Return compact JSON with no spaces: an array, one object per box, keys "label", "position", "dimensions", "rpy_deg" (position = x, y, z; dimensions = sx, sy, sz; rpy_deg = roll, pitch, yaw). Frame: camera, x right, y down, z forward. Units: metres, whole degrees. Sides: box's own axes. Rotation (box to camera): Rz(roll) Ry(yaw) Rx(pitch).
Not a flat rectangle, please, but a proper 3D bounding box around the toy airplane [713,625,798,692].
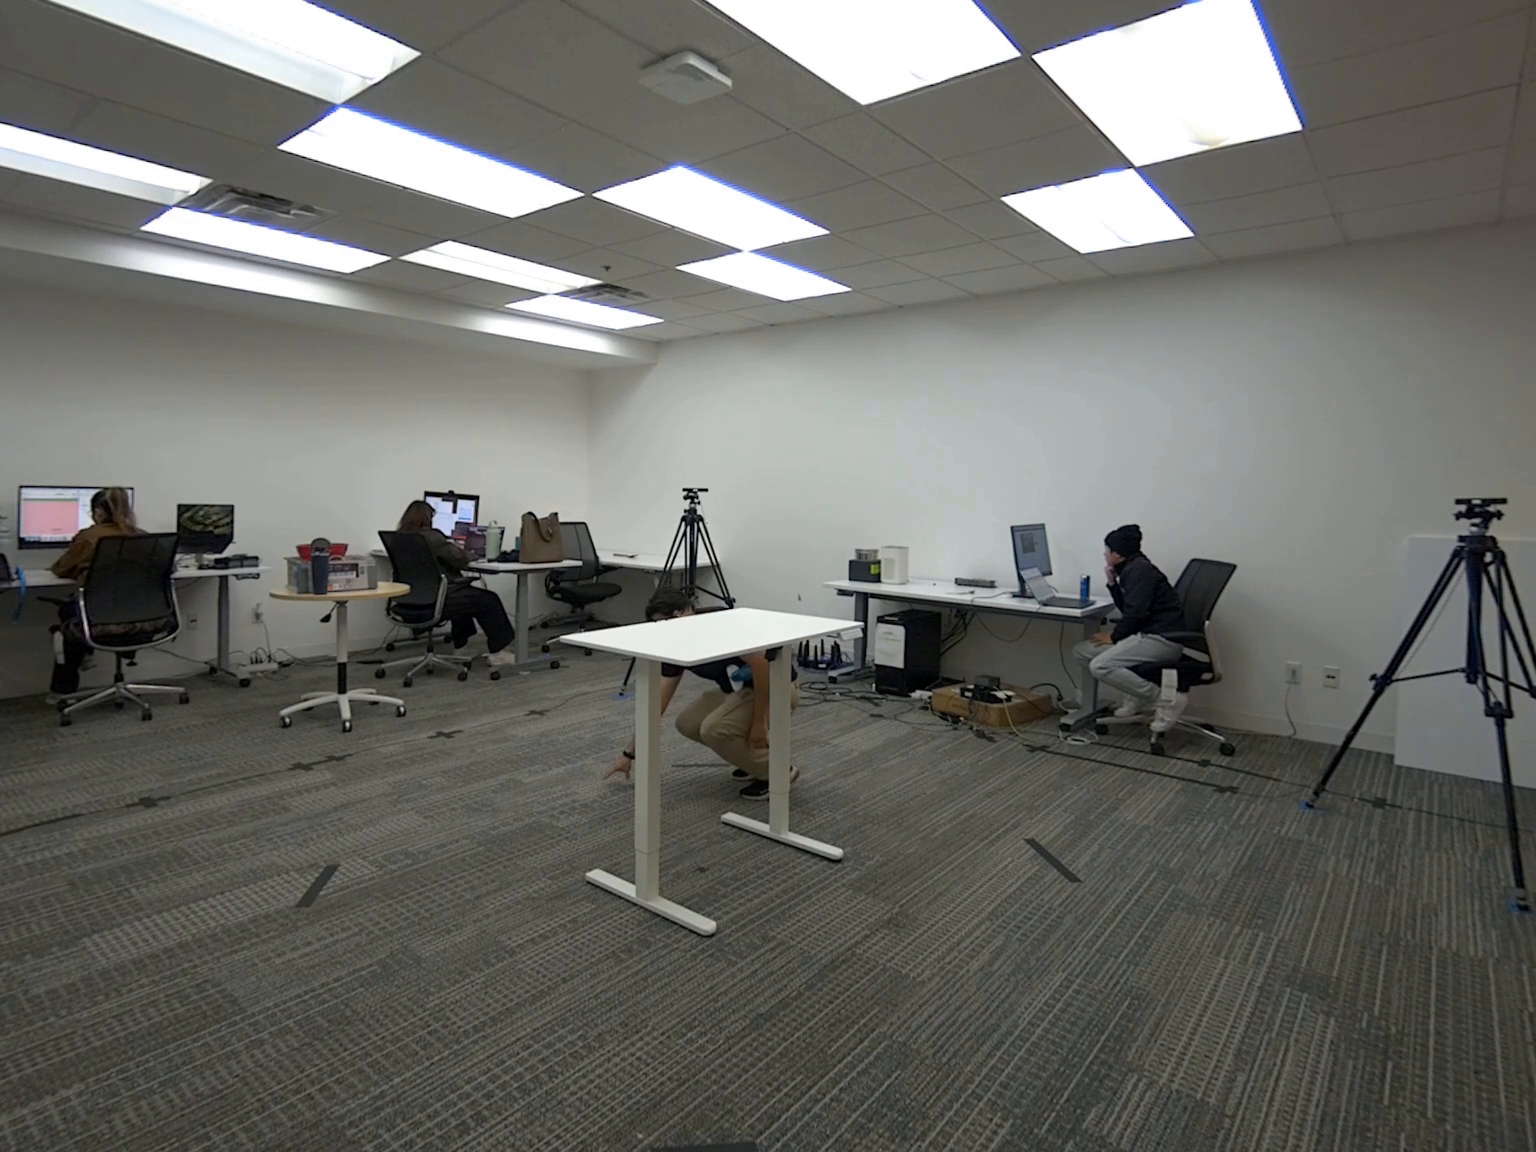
[{"label":"toy airplane","position":[-0.064,0.408,3.772],"dimensions":[0.258,0.254,0.155],"rpy_deg":[-35,-8,-14]}]
